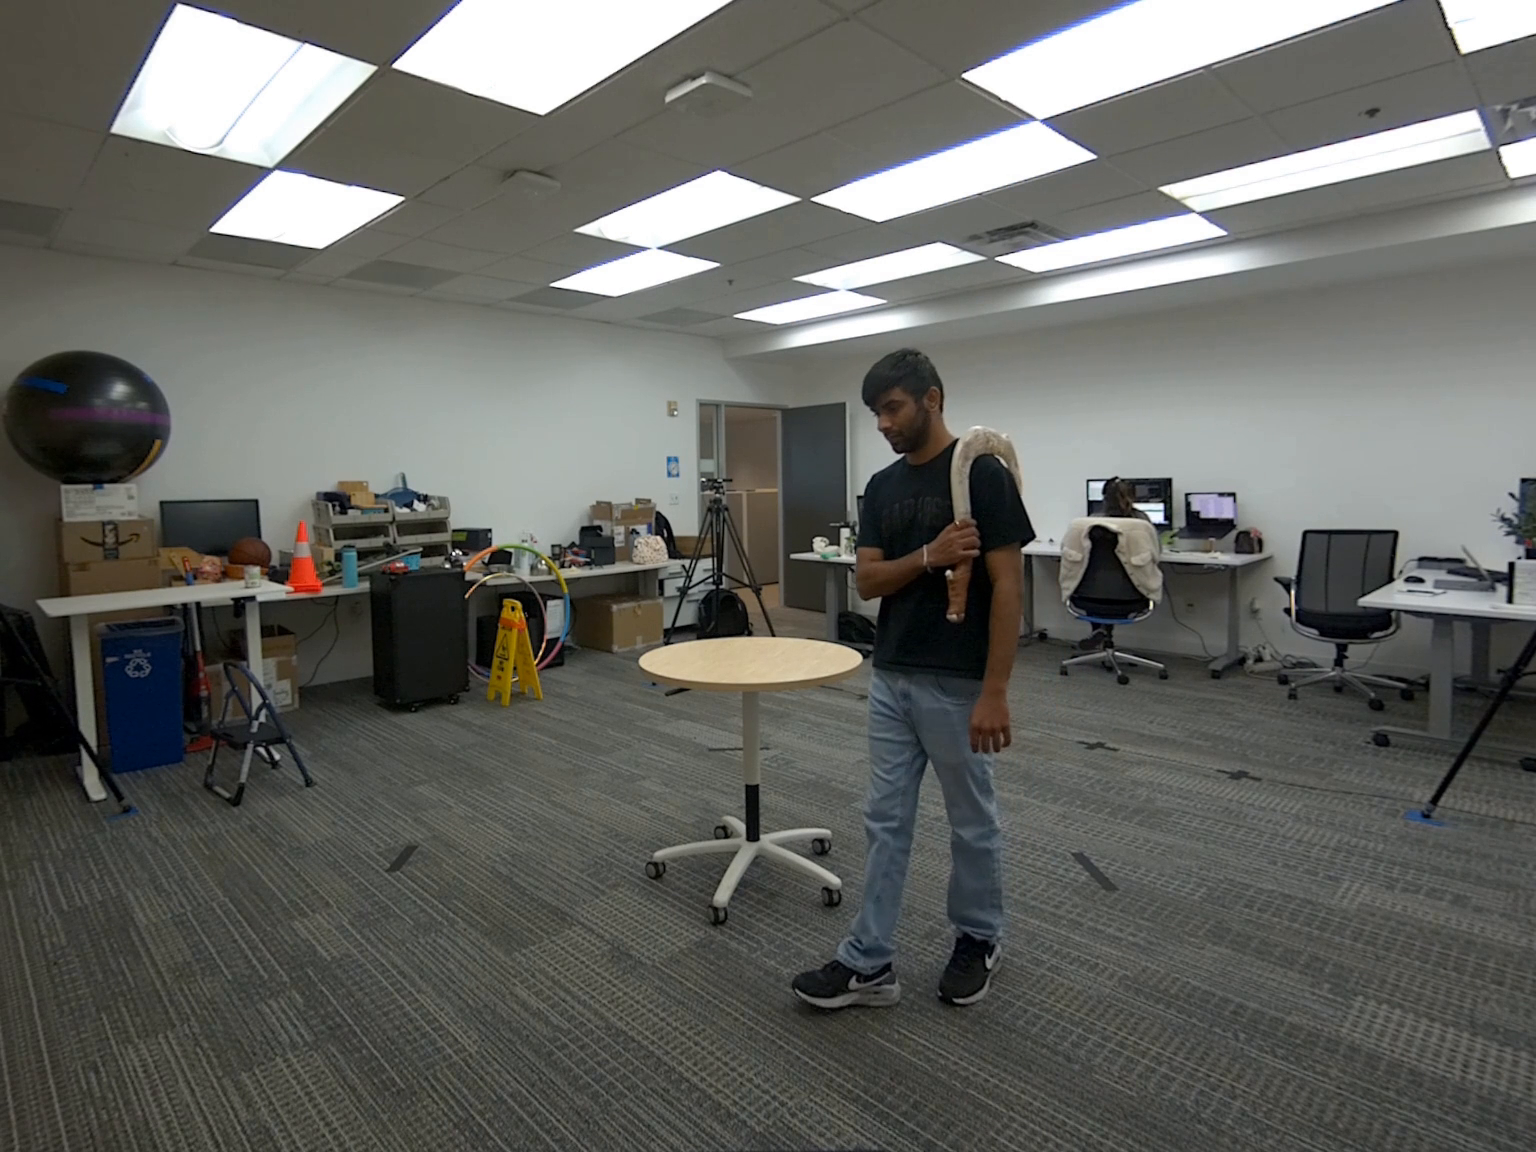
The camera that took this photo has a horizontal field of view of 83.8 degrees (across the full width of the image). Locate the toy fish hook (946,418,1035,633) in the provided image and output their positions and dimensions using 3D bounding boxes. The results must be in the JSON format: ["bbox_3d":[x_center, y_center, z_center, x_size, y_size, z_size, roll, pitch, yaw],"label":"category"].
[{"bbox_3d":[0.542,-0.125,2.134,0.221,0.510,0.049,7,-8,-16],"label":"toy fish hook"}]
